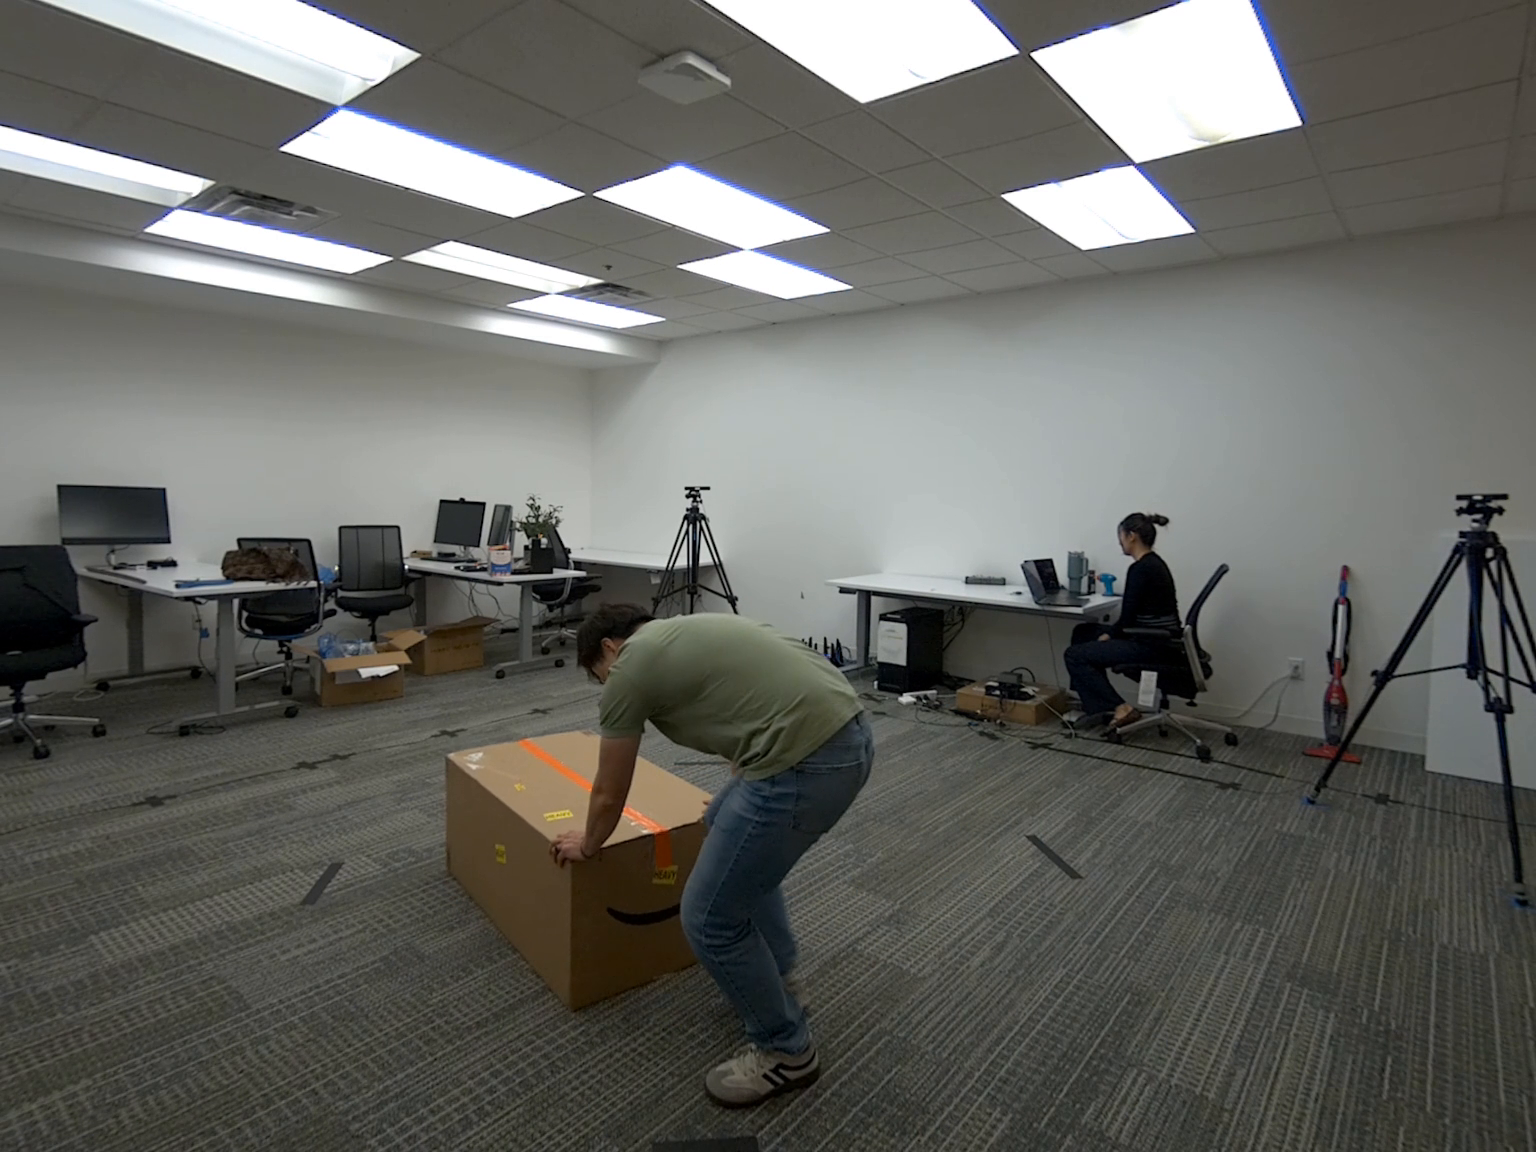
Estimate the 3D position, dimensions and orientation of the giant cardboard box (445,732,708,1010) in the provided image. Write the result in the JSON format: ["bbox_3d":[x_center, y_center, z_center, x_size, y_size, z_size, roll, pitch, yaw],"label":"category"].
[{"bbox_3d":[-0.625,0.876,2.808,0.561,0.424,1.061,-4,7,-38],"label":"giant cardboard box"}]
